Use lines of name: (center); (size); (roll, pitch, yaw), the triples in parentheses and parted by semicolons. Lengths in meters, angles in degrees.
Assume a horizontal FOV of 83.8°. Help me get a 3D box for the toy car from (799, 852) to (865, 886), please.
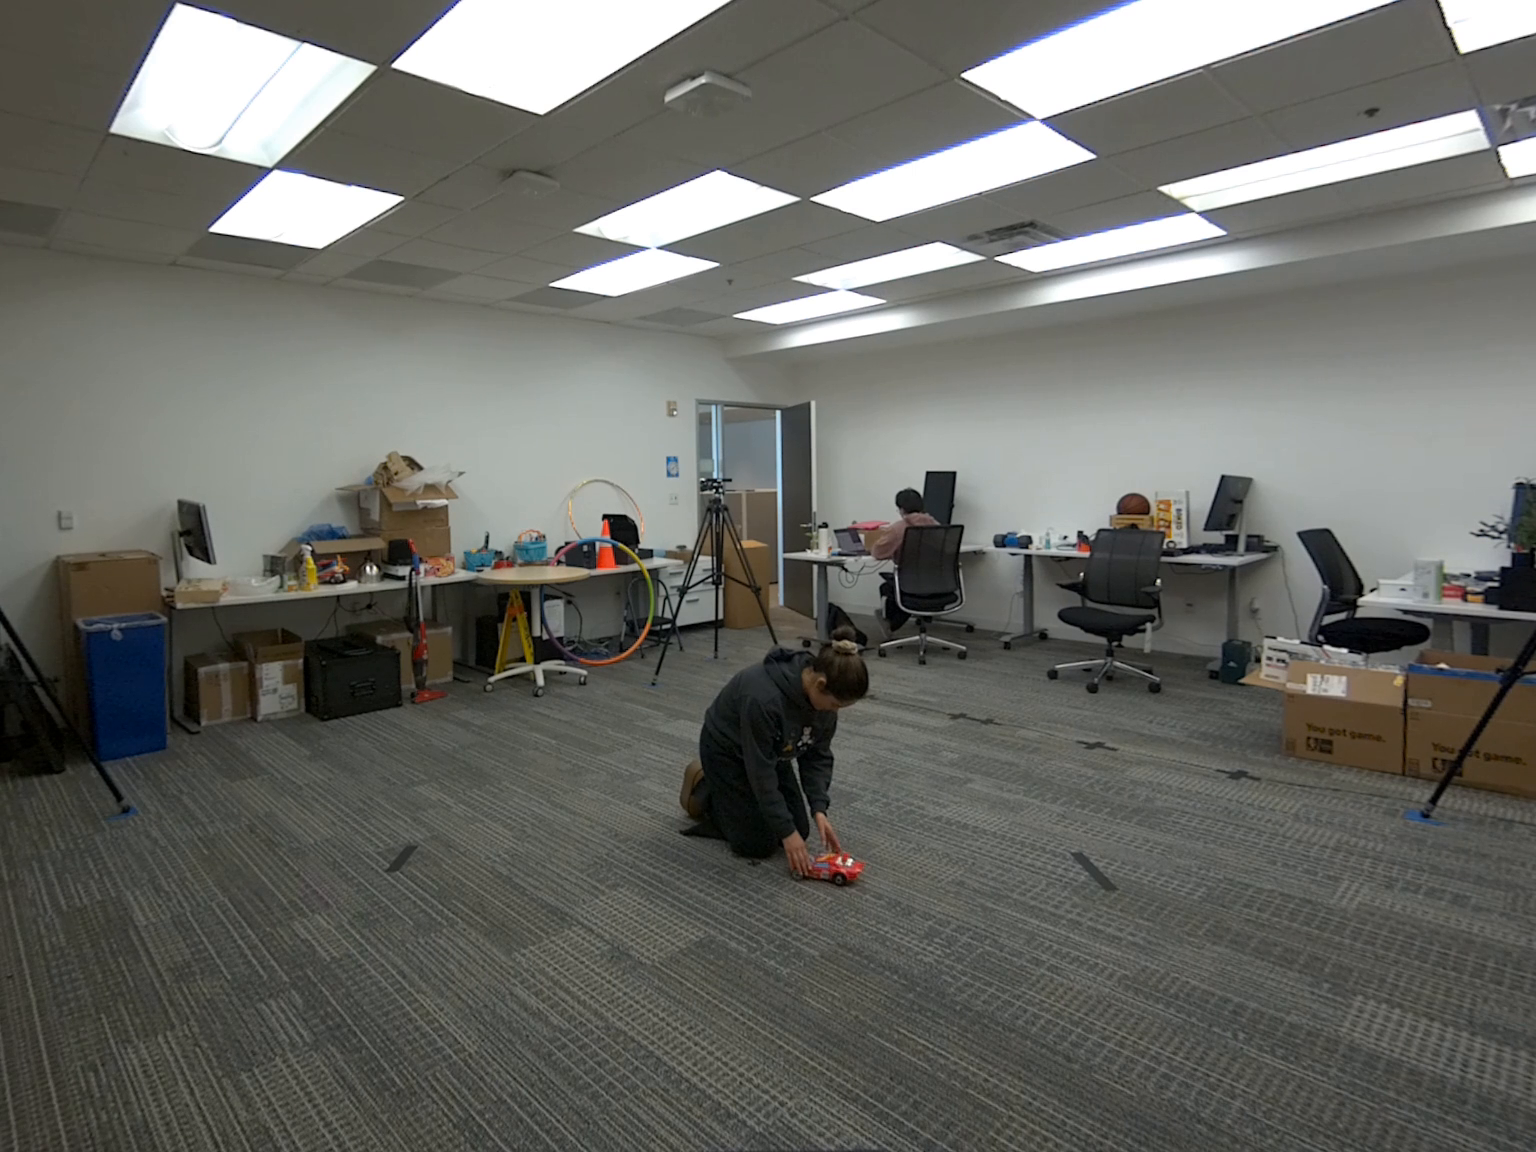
toy car: (0.217, 1.024, 2.973); (0.258, 0.083, 0.128); (-13, 1, 20)
